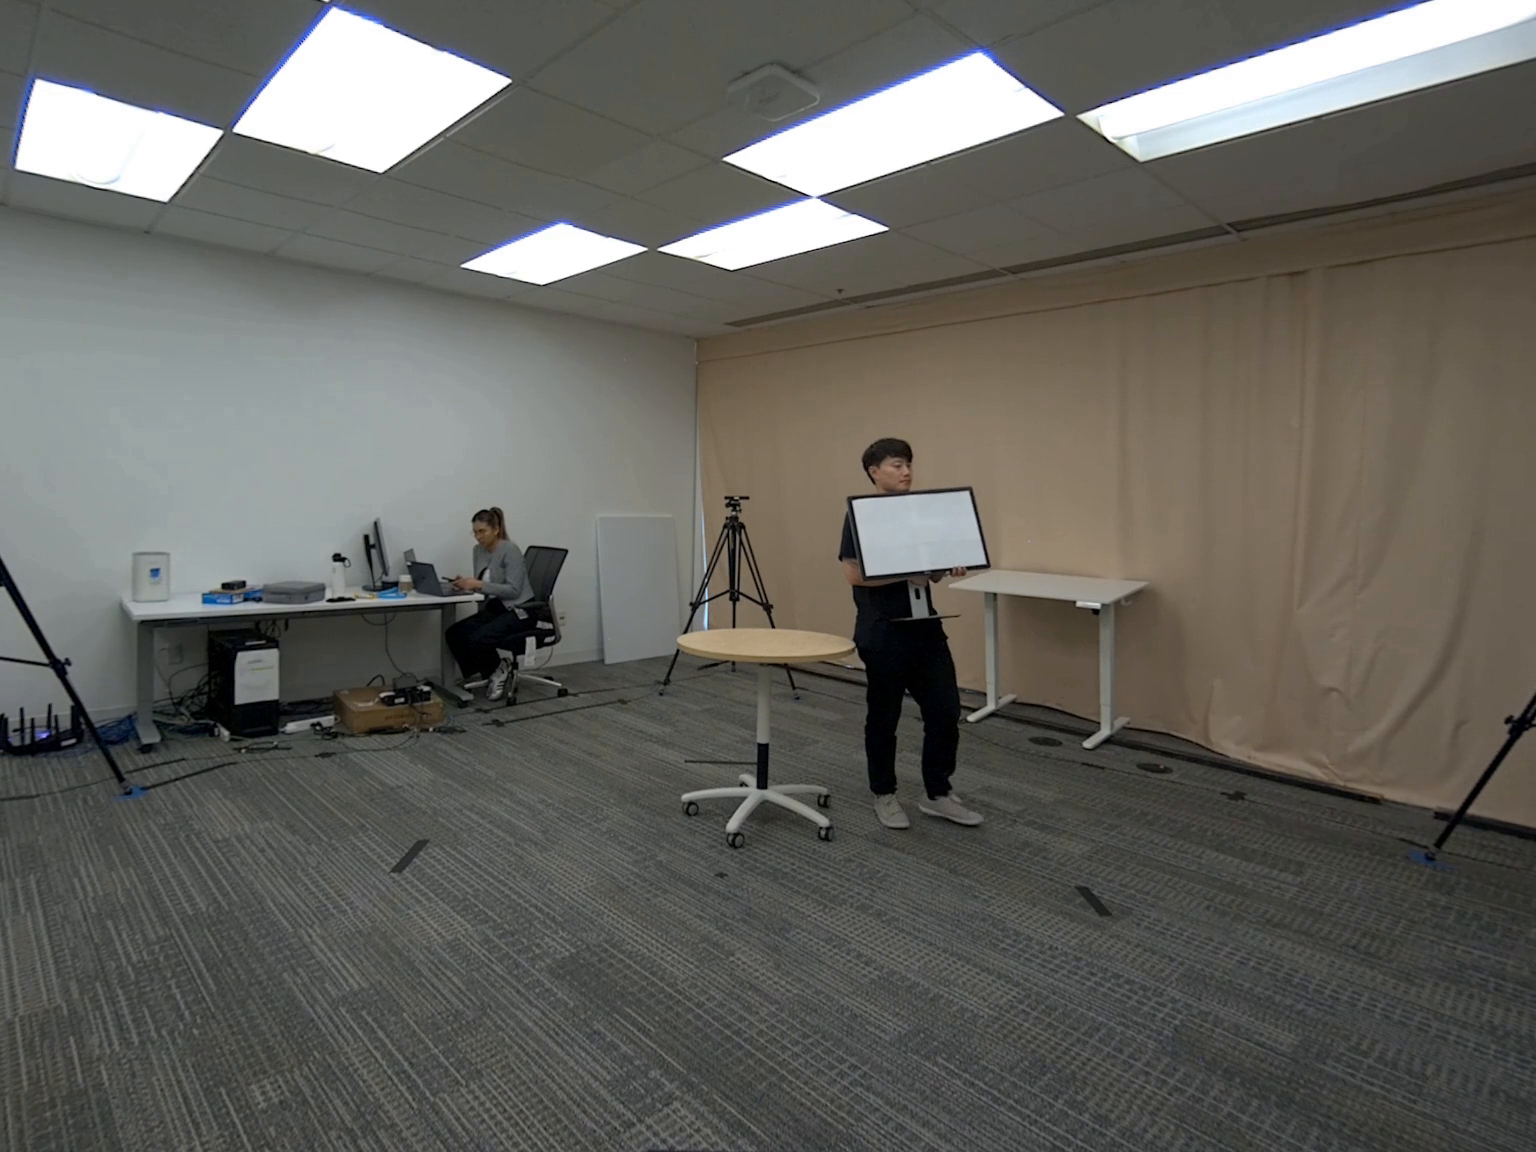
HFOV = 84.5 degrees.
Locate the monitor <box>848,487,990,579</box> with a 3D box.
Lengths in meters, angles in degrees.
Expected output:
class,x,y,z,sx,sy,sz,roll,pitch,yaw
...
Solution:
class,x,y,z,sx,sy,sz,roll,pitch,yaw
monitor,0.619,-0.085,3.509,0.534,0.525,0.188,-5,-5,-13
